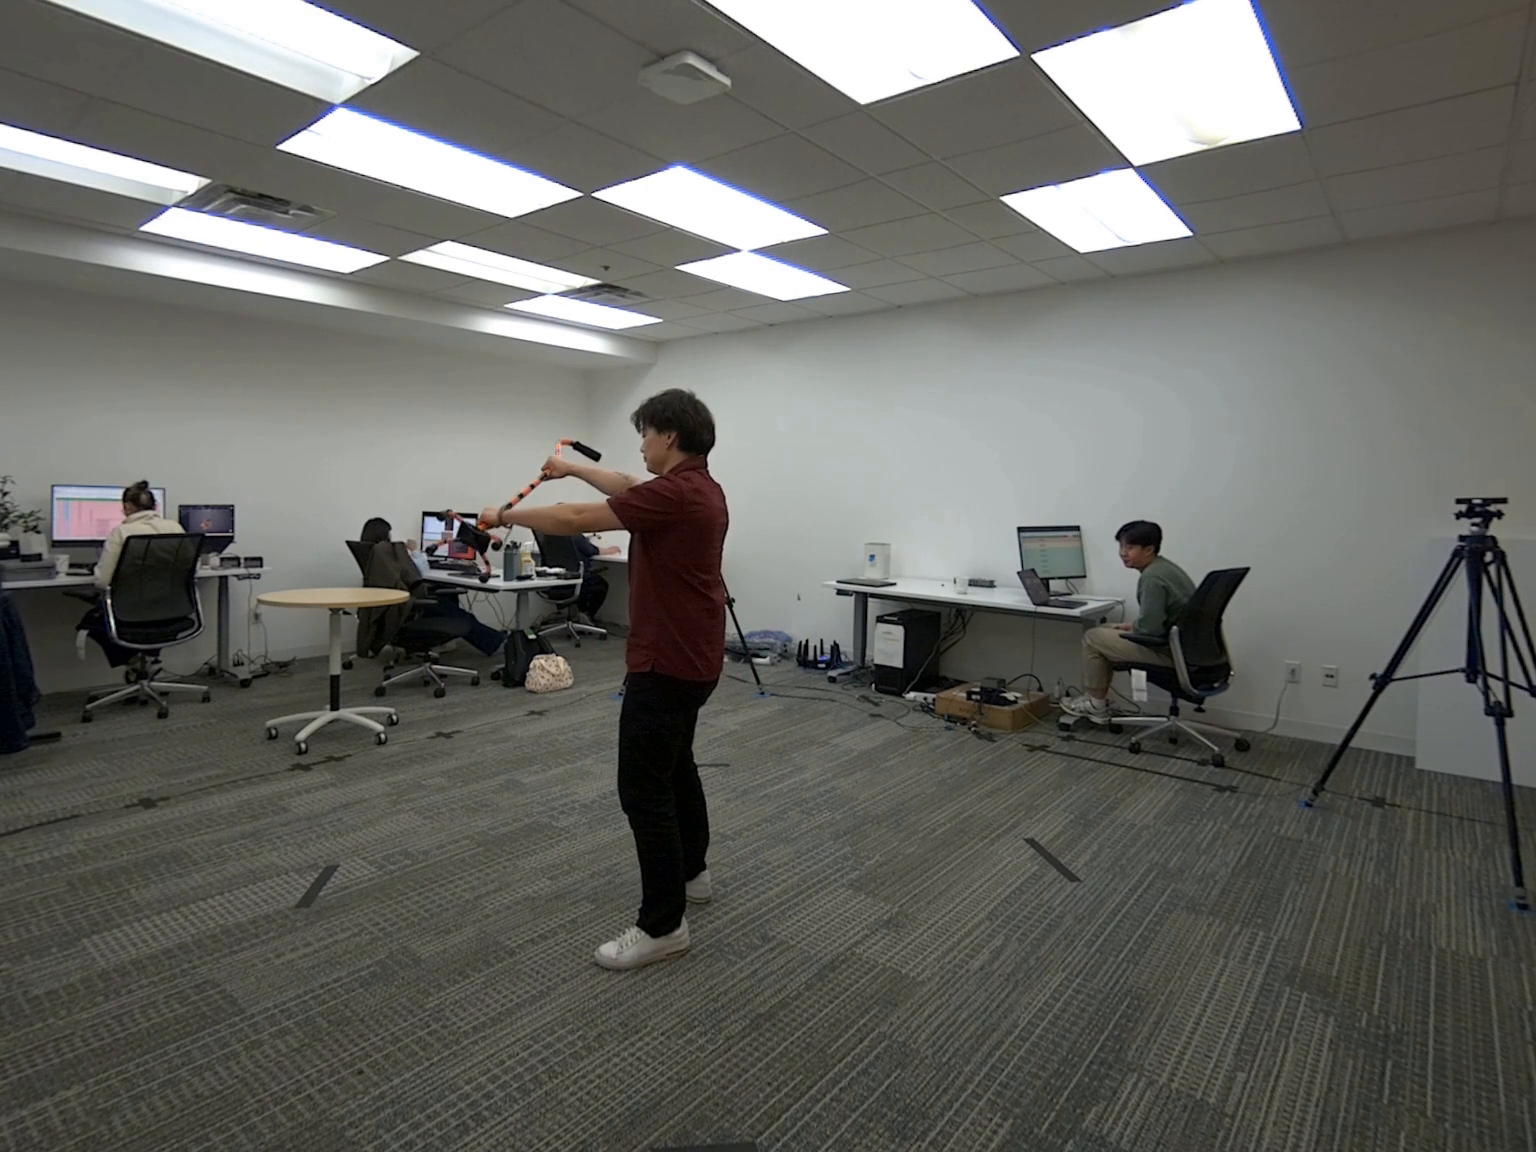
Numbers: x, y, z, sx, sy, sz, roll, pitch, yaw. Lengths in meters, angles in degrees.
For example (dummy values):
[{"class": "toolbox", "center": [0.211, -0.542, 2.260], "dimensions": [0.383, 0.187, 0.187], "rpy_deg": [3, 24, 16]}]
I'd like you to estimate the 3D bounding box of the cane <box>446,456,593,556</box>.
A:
[{"class": "cane", "center": [-0.811, -0.274, 2.850], "dimensions": [0.207, 0.150, 0.916], "rpy_deg": [25, 29, -1]}]
